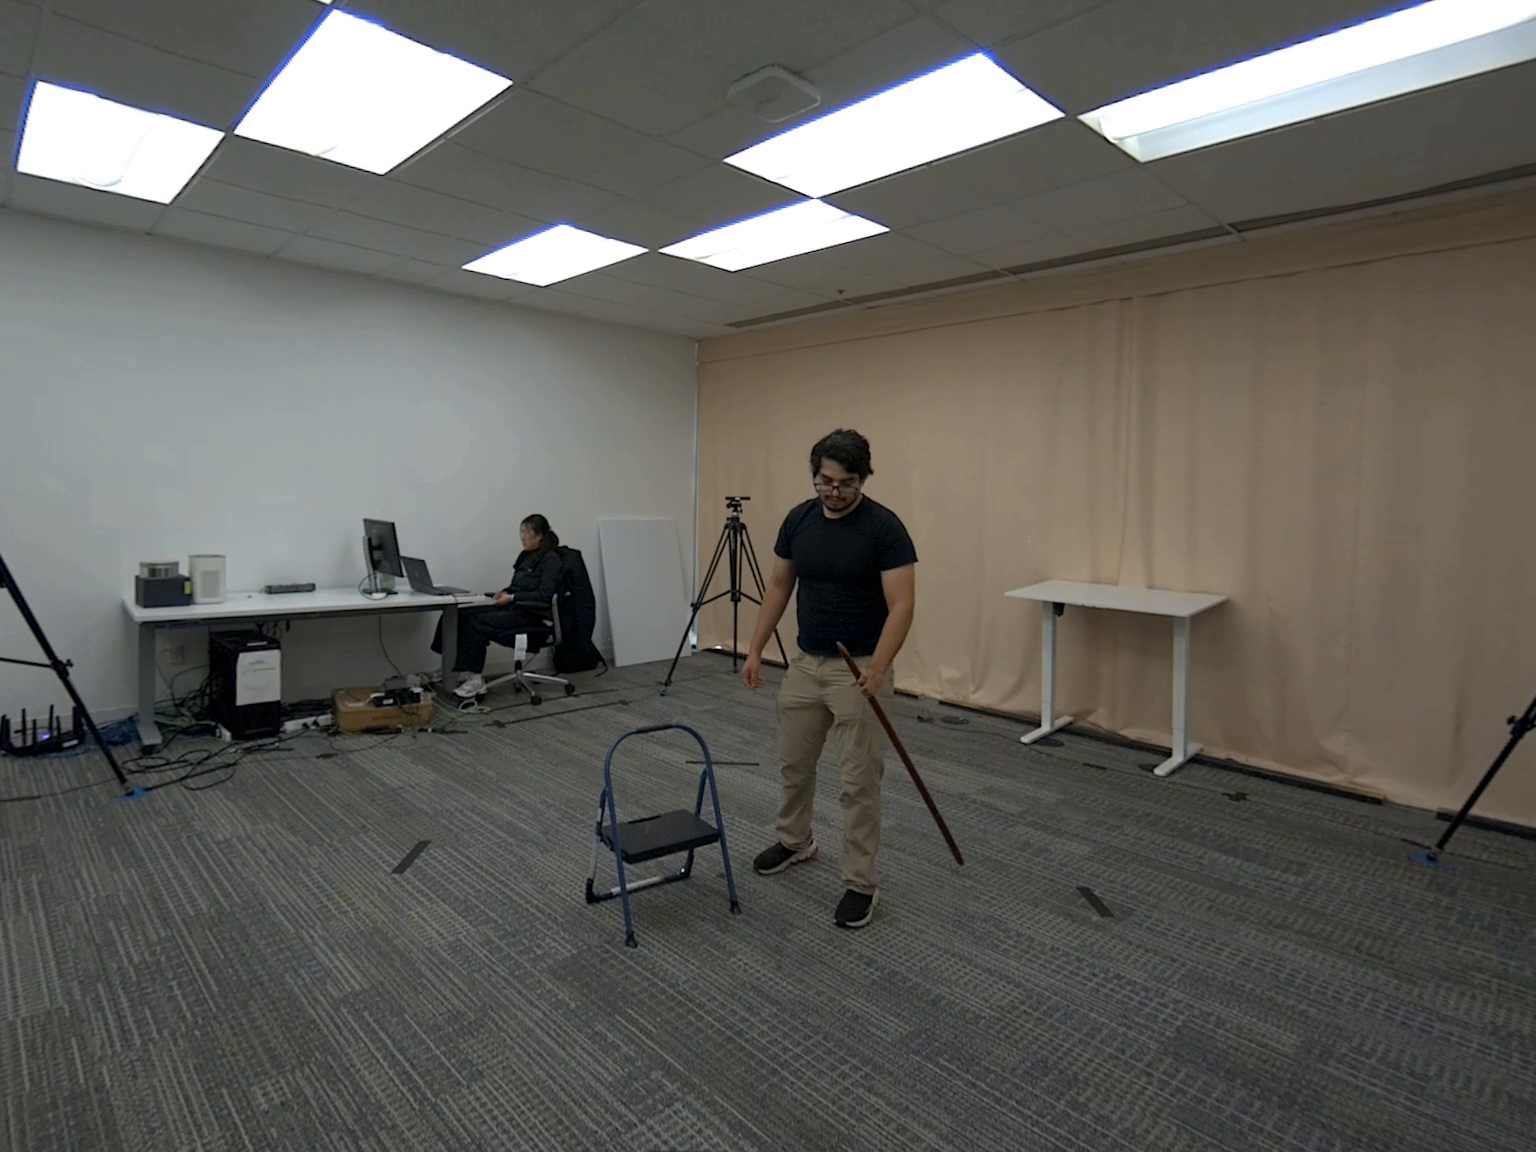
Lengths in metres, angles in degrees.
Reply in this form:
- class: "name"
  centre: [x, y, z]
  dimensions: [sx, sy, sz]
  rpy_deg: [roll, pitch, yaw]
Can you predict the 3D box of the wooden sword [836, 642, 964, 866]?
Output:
- class: "wooden sword"
  centre: [0.456, 0.611, 2.696]
  dimensions: [0.024, 0.999, 0.052]
  rpy_deg: [-15, 30, 26]
